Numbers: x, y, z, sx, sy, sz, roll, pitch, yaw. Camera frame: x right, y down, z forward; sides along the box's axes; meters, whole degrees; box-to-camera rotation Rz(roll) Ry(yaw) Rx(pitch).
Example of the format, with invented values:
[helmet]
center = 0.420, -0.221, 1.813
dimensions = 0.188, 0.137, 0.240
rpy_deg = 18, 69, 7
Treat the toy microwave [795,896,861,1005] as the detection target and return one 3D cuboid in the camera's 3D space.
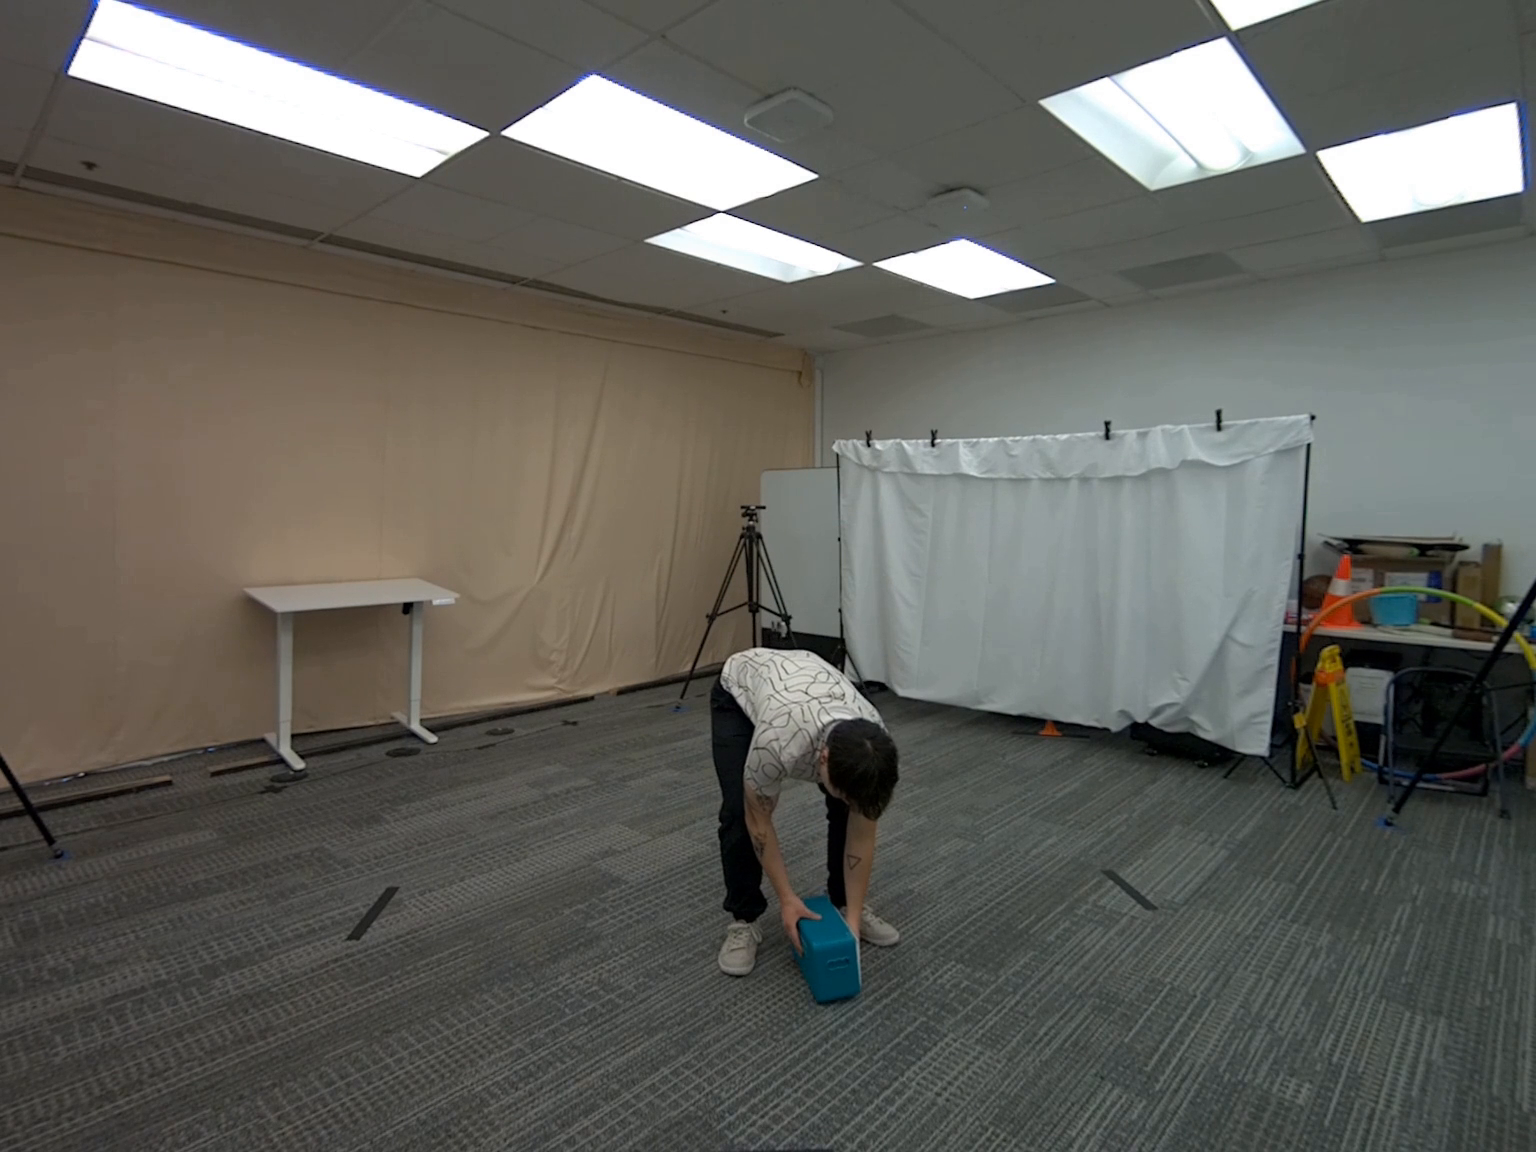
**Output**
[toy microwave]
center = 0.175, 1.086, 2.472
dimensions = 0.150, 0.184, 0.290
rpy_deg = -5, 4, -14
